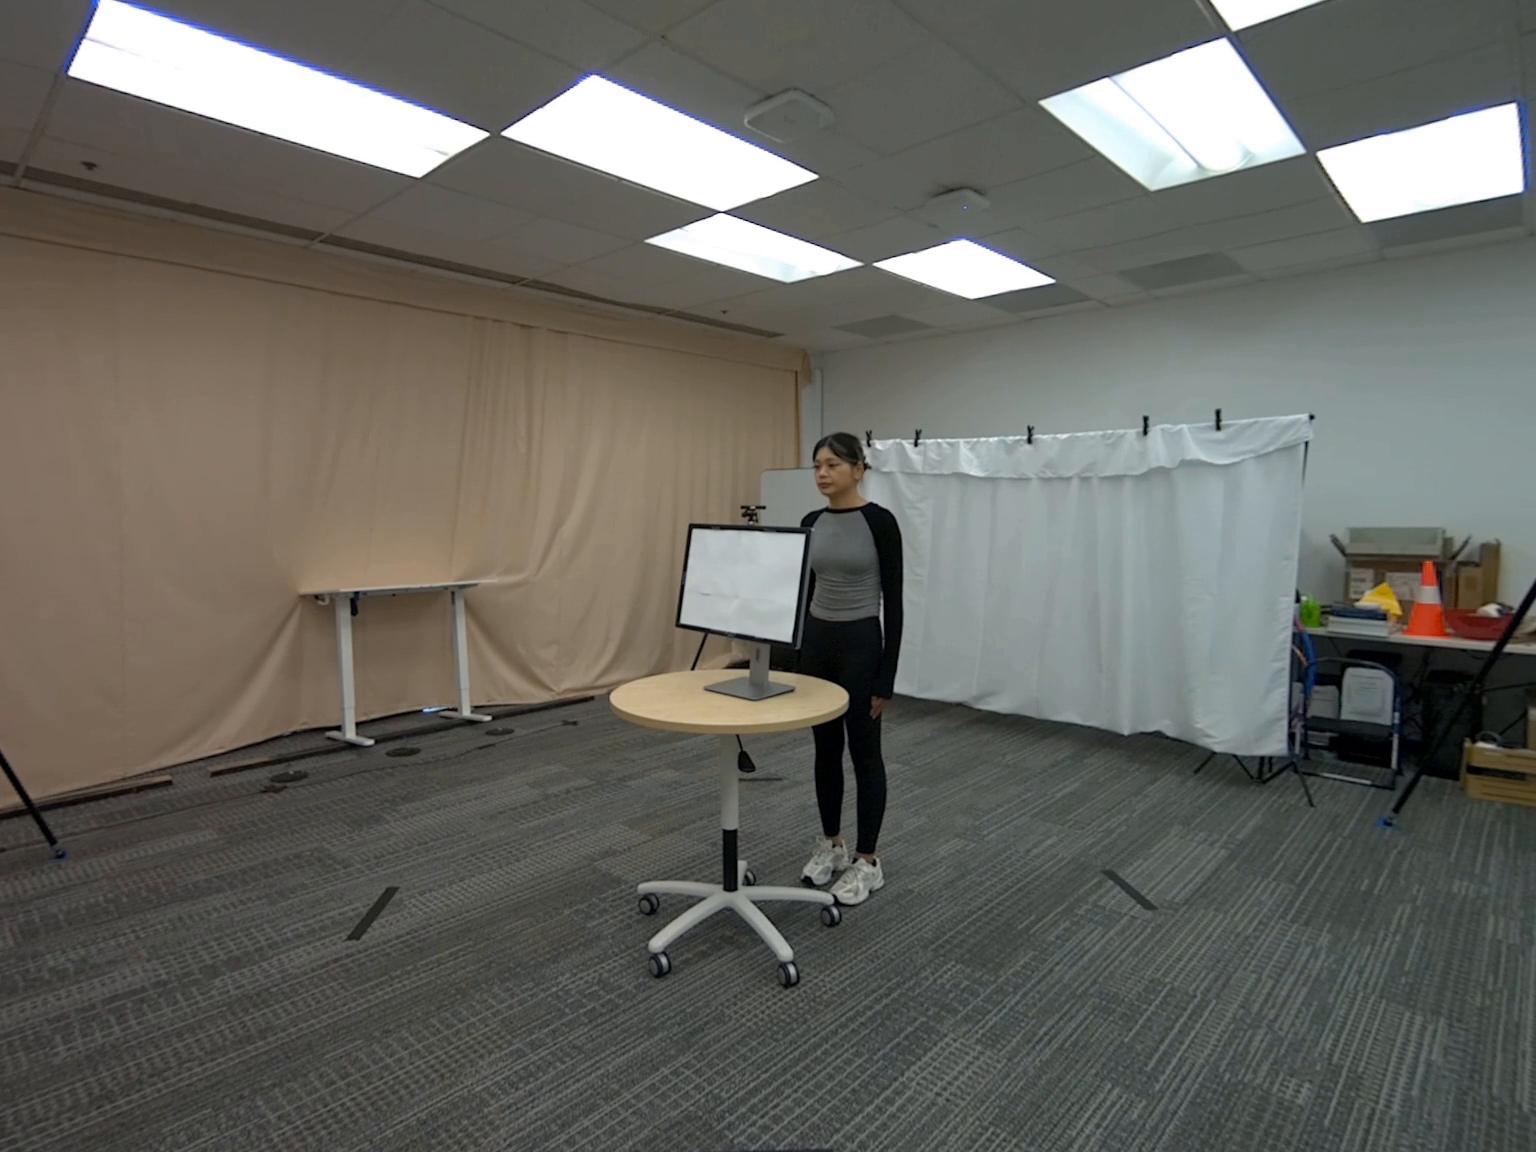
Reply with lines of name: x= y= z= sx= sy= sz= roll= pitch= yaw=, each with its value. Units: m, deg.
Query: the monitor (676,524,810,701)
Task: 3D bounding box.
monitor: x=-0.056 y=0.111 z=2.742 sx=0.557 sy=0.521 sz=0.181 roll=4 pitch=7 yaw=44
